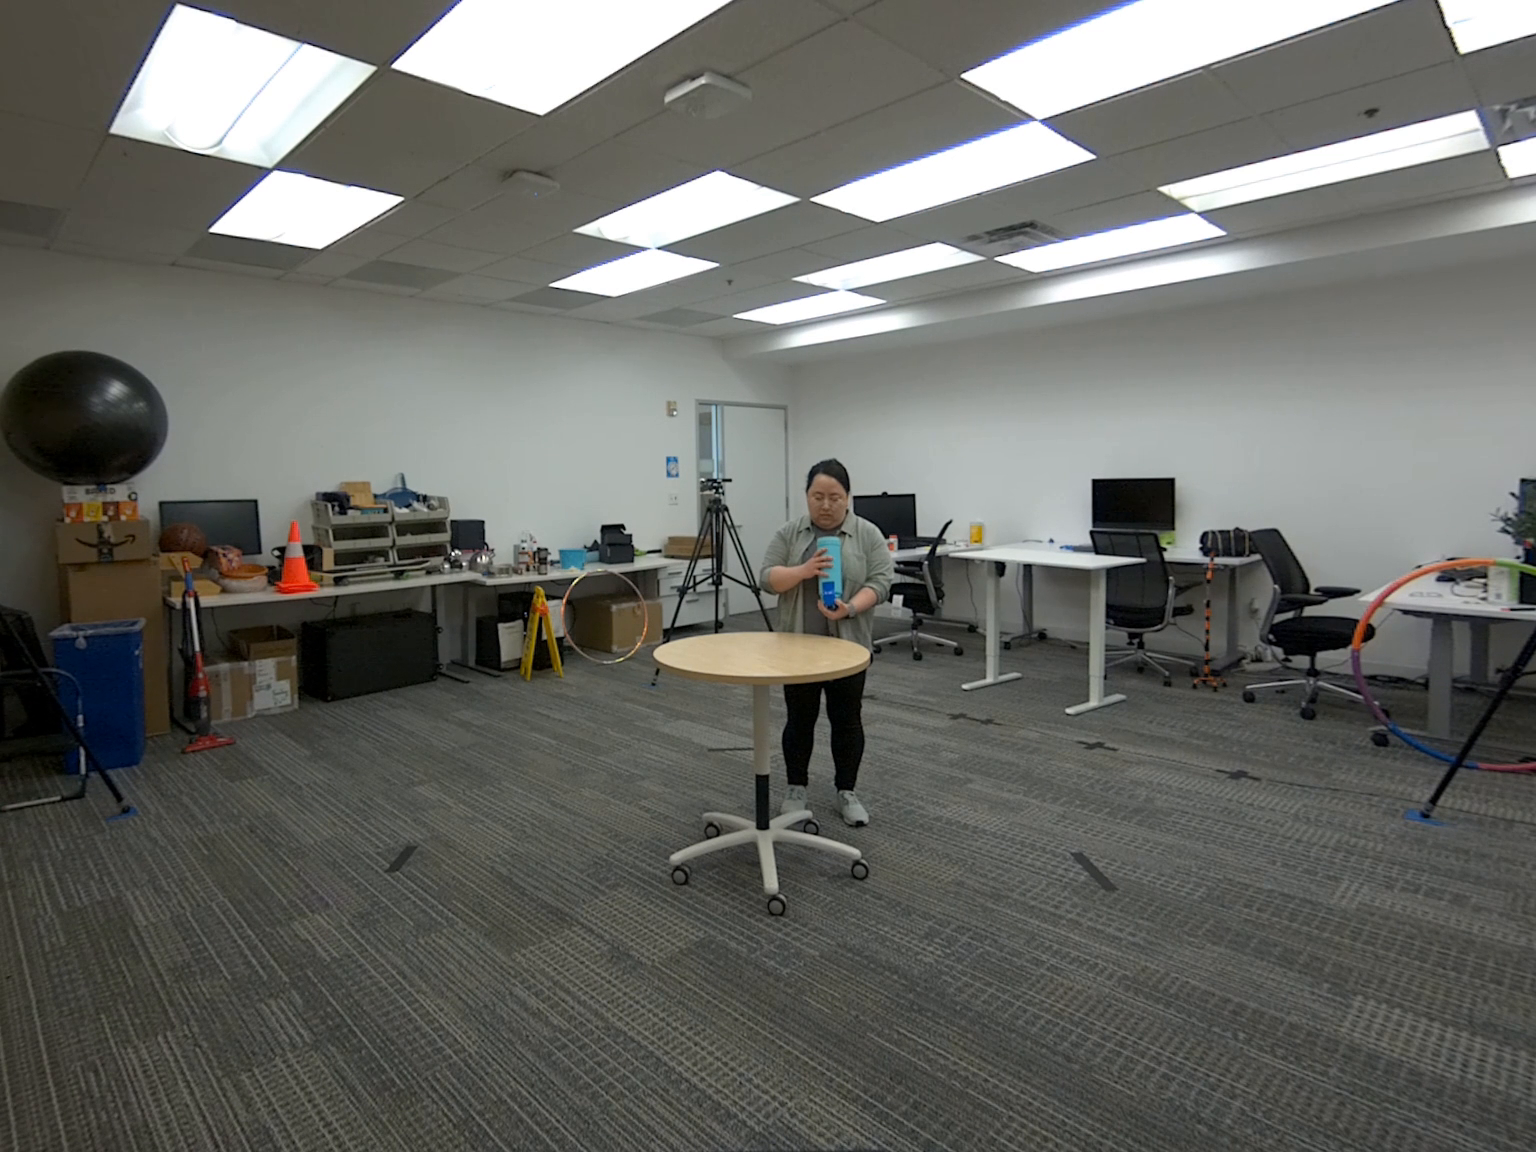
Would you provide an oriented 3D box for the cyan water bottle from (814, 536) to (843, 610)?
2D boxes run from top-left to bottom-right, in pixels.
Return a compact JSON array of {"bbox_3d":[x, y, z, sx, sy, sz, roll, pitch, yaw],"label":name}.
[{"bbox_3d":[0.241,-0.001,3.307,0.092,0.287,0.091,-1,-14,-2],"label":"cyan water bottle"}]
